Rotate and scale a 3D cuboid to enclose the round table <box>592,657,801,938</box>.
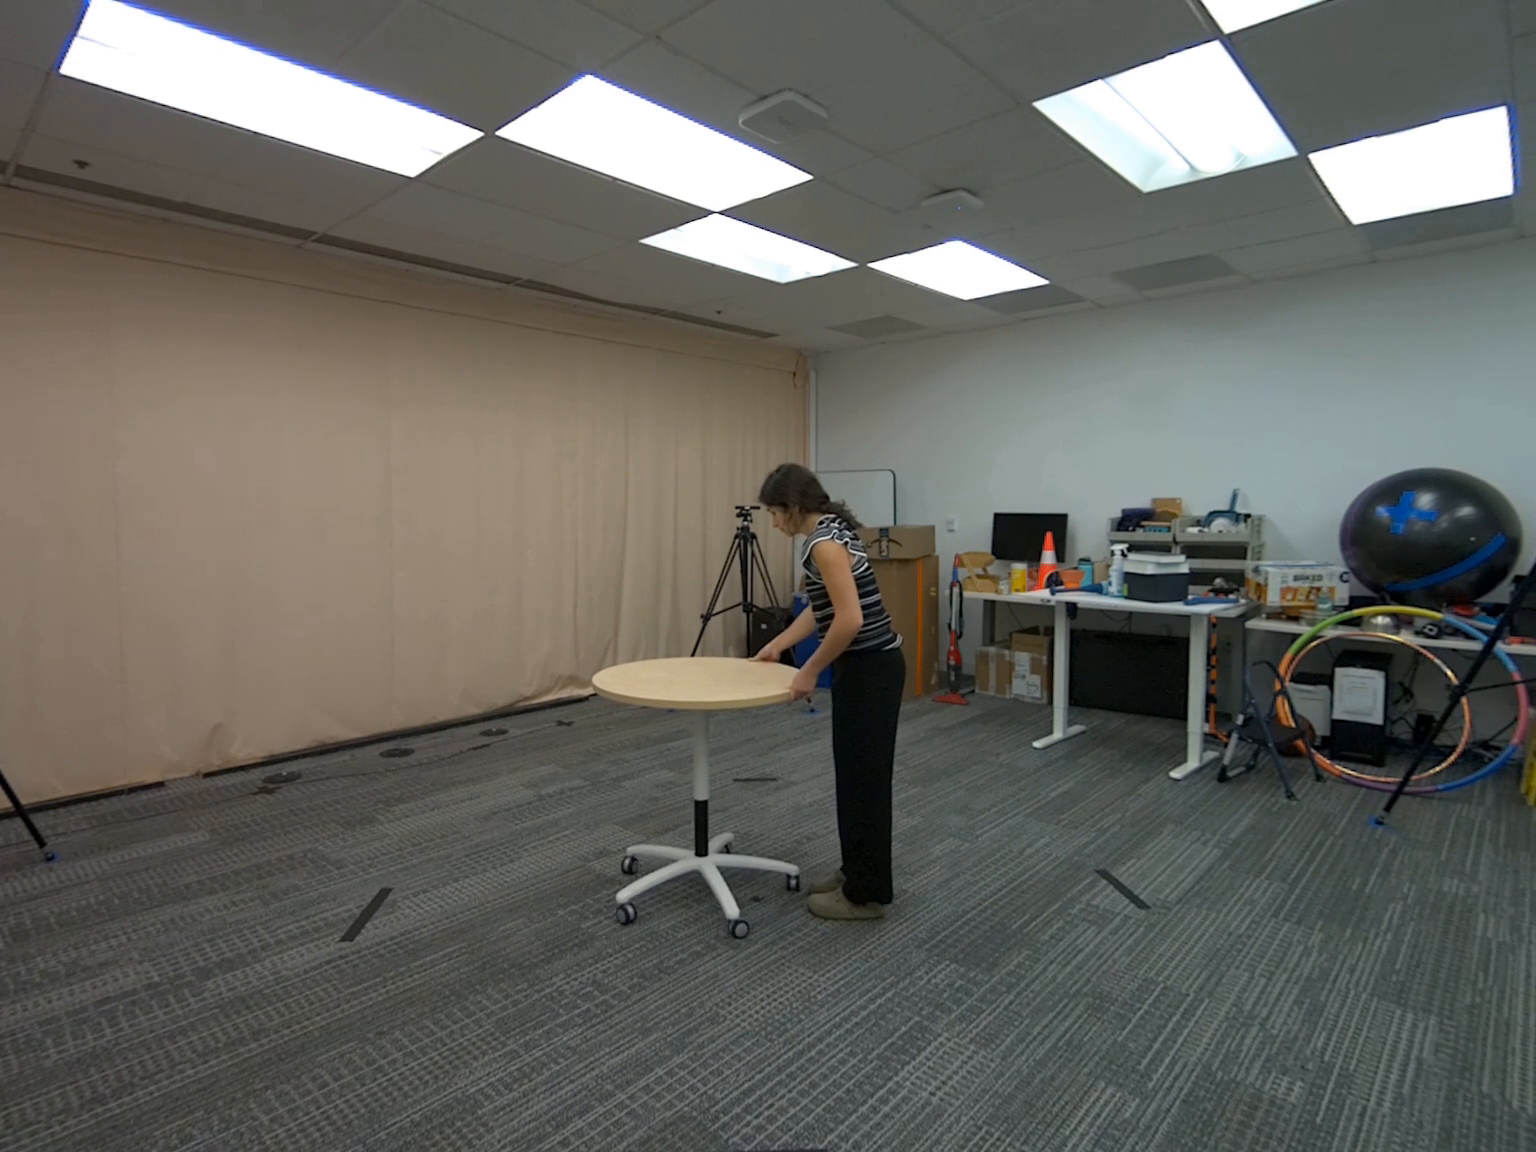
[{"bbox_3d":[-0.242,0.751,3.003,0.784,0.785,0.787,0,3,-2],"label":"round table"}]
